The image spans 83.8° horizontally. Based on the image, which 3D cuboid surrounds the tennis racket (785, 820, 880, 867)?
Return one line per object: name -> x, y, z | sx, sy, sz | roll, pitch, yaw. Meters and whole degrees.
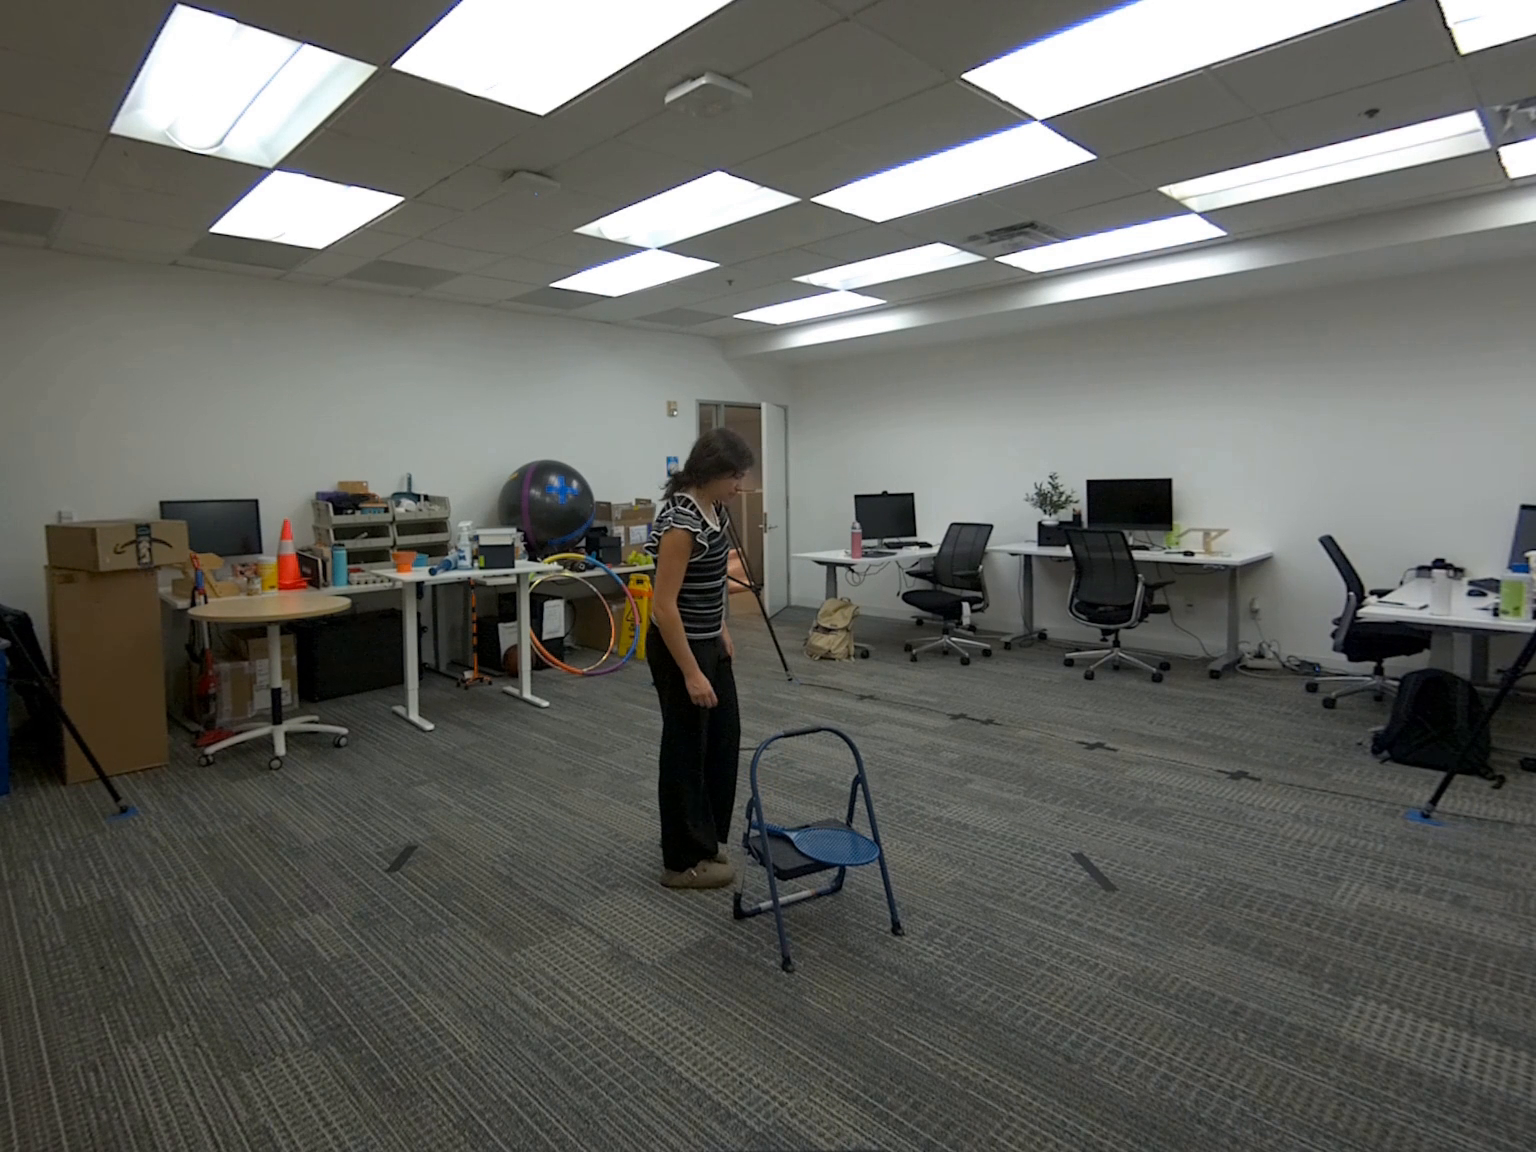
tennis racket -> 0.120, 0.820, 2.671 | 0.443, 0.031, 0.210 | 5, 10, 24
